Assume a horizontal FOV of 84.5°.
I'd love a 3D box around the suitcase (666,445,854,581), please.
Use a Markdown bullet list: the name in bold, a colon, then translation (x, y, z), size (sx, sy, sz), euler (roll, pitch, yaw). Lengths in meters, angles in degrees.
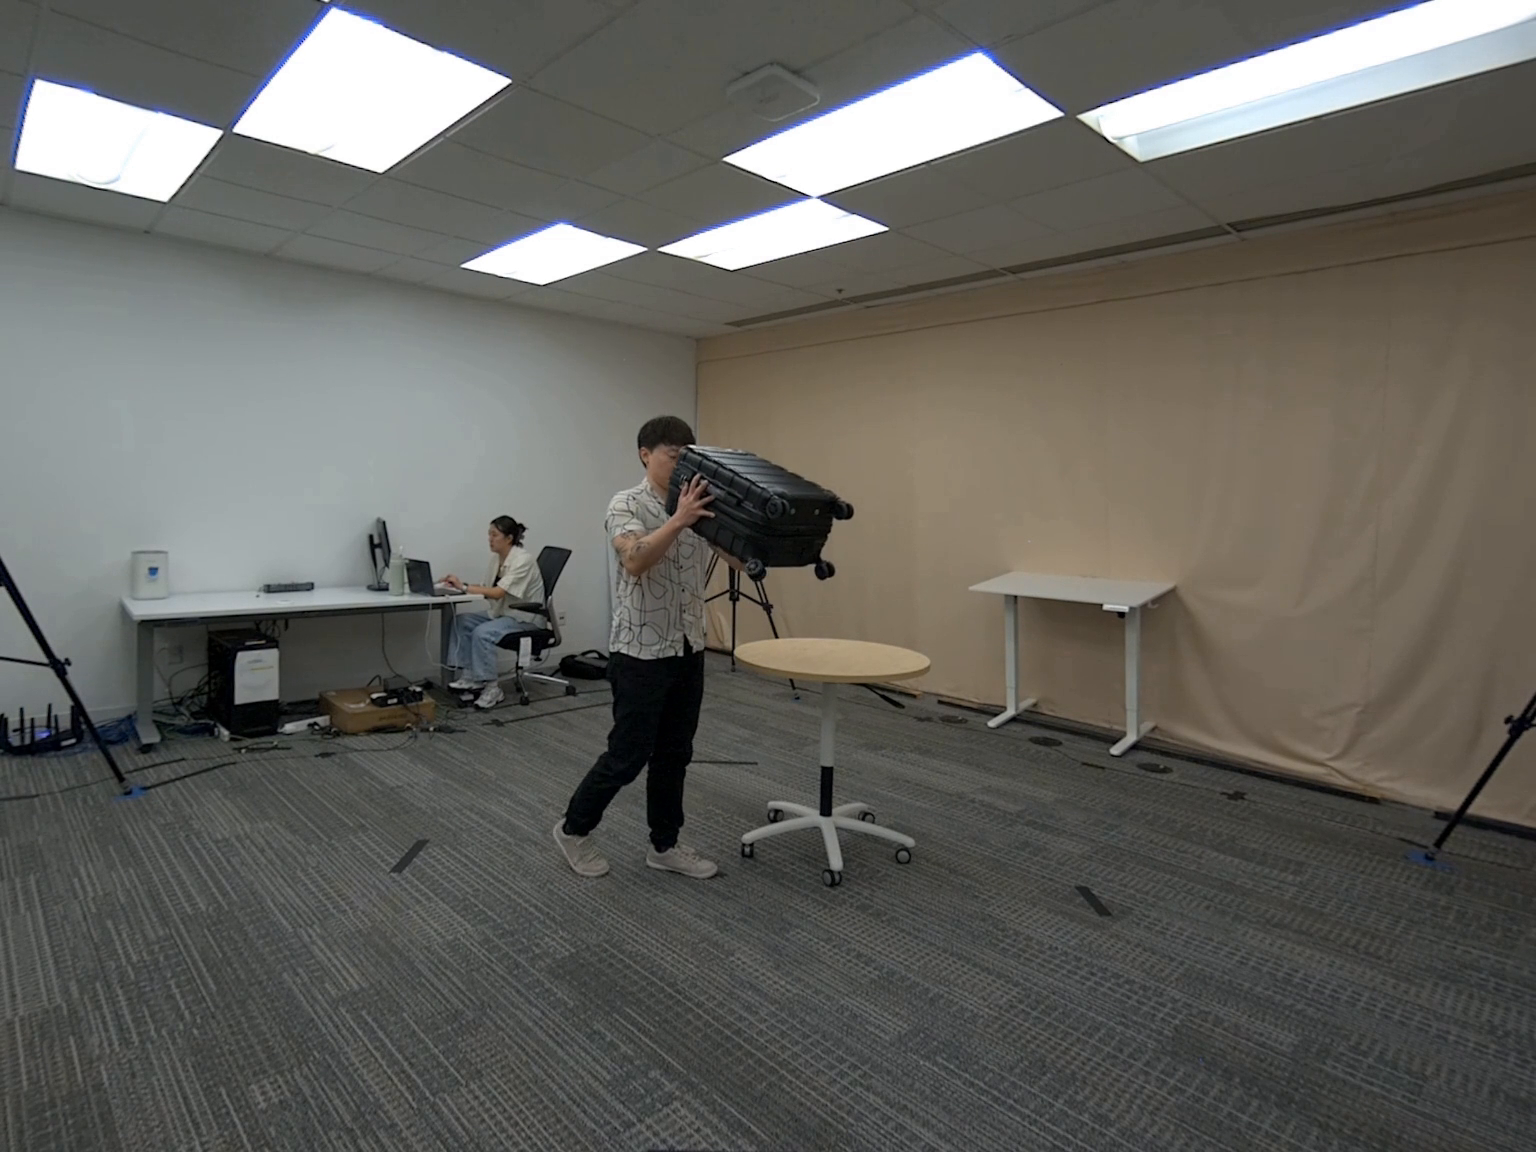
- **suitcase**: translation (-0.065, -0.224, 2.713), size (0.366, 0.246, 0.567), euler (-1, 26, -44)
